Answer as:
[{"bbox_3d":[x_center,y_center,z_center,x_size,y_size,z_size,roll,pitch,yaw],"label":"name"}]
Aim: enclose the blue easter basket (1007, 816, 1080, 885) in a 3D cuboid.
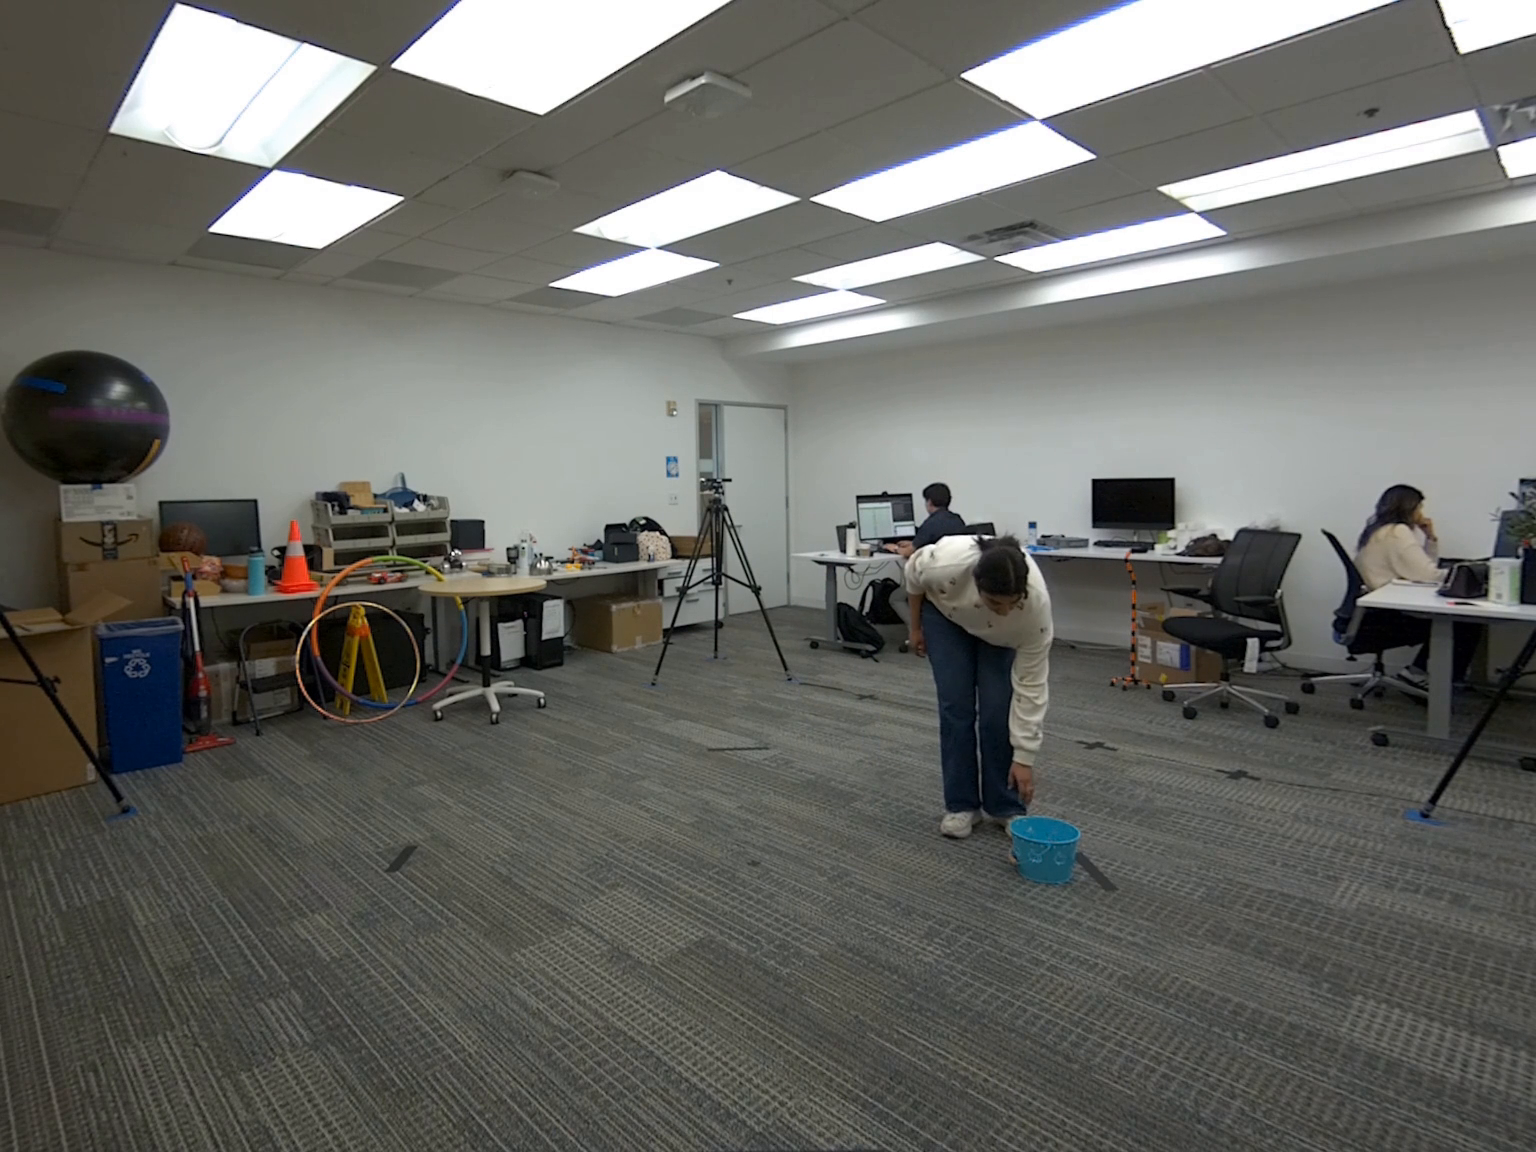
[{"bbox_3d":[0.966,0.967,2.991,0.243,0.155,0.245,-1,5,-2],"label":"blue easter basket"}]
